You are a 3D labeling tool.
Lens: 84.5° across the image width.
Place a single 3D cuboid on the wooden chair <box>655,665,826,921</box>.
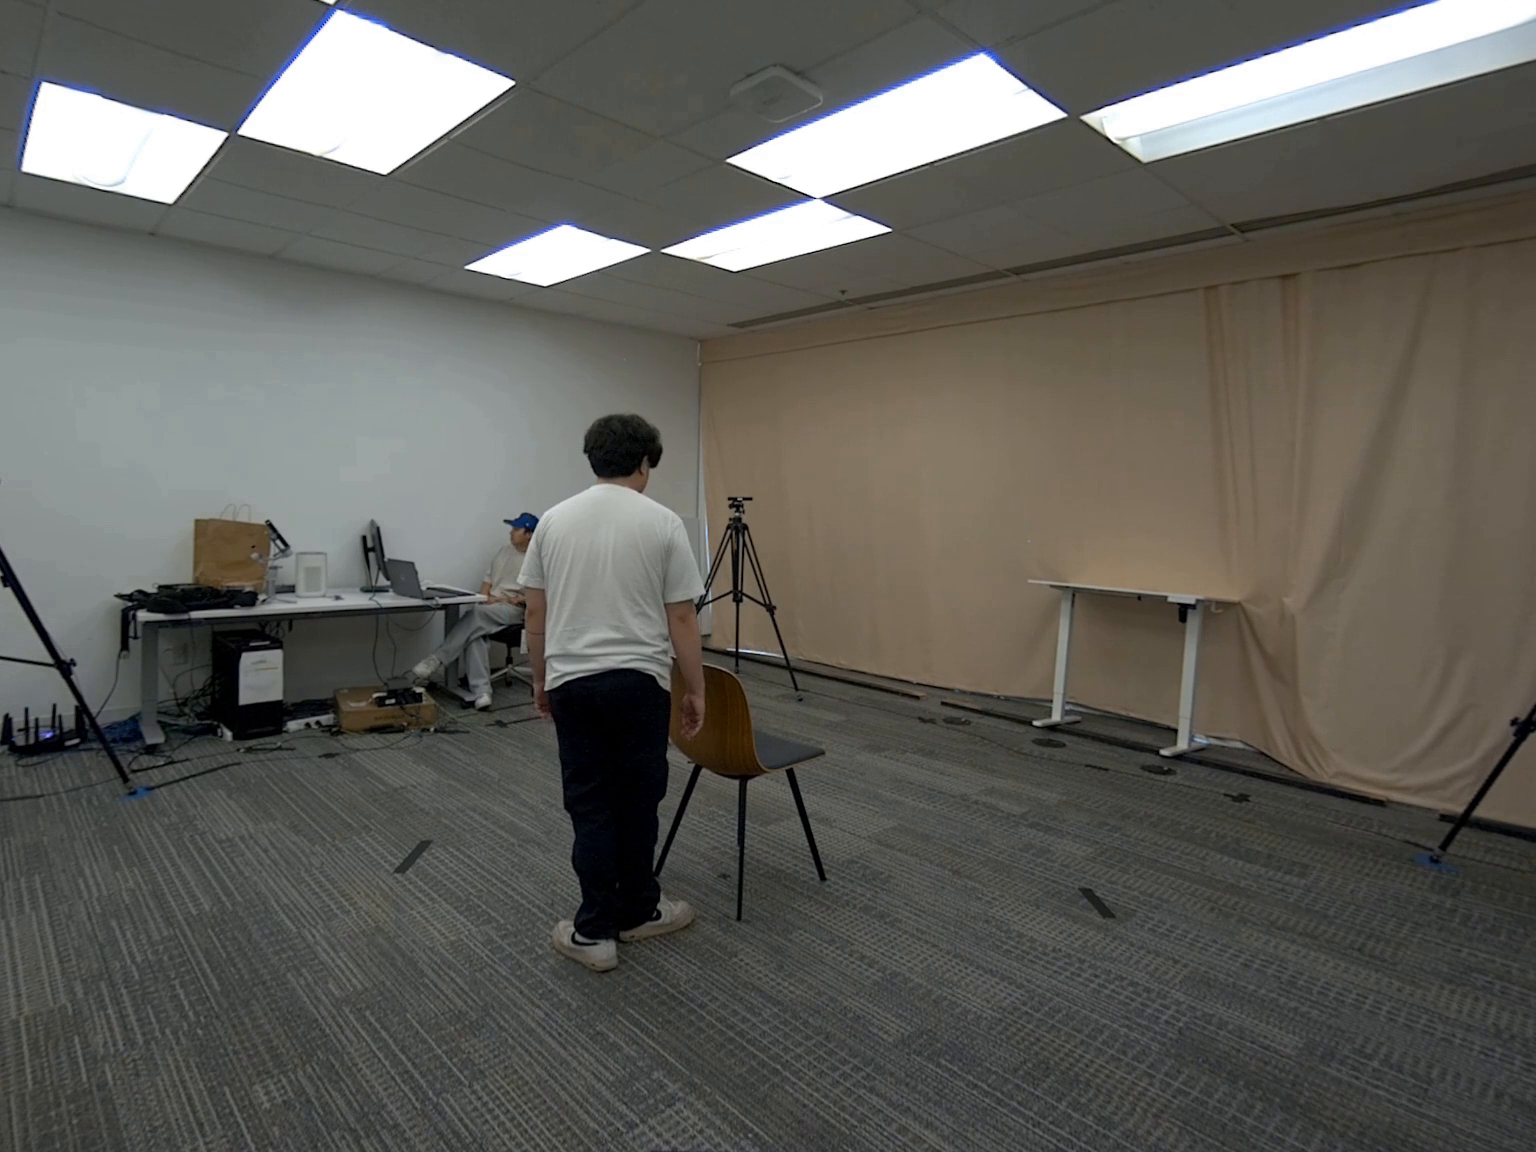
[{"bbox_3d":[-0.091,0.685,3.063,0.490,0.873,0.512,4,8,44],"label":"wooden chair"}]
